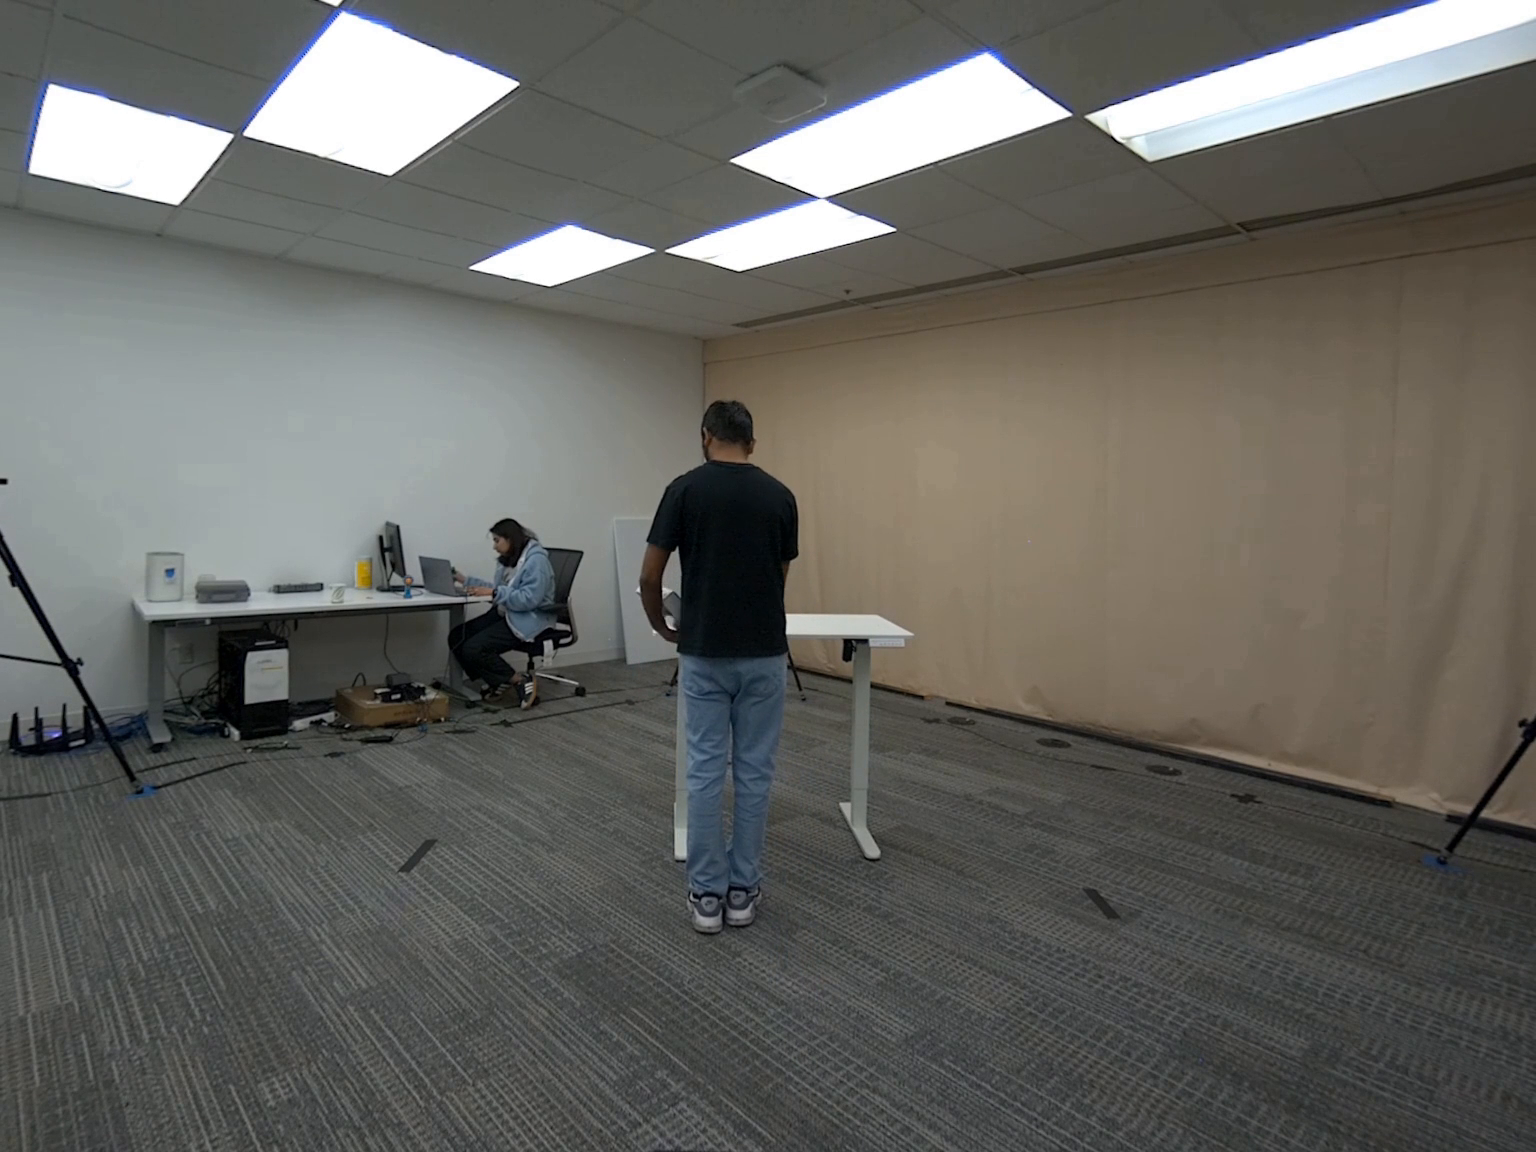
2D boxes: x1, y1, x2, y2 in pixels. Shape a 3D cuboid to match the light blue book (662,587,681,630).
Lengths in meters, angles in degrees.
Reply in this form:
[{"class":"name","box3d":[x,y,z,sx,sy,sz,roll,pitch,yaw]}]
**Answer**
[{"class":"light blue book","box3d":[-0.341,0.122,2.989,0.059,0.187,0.267,-44,23,-14]}]
